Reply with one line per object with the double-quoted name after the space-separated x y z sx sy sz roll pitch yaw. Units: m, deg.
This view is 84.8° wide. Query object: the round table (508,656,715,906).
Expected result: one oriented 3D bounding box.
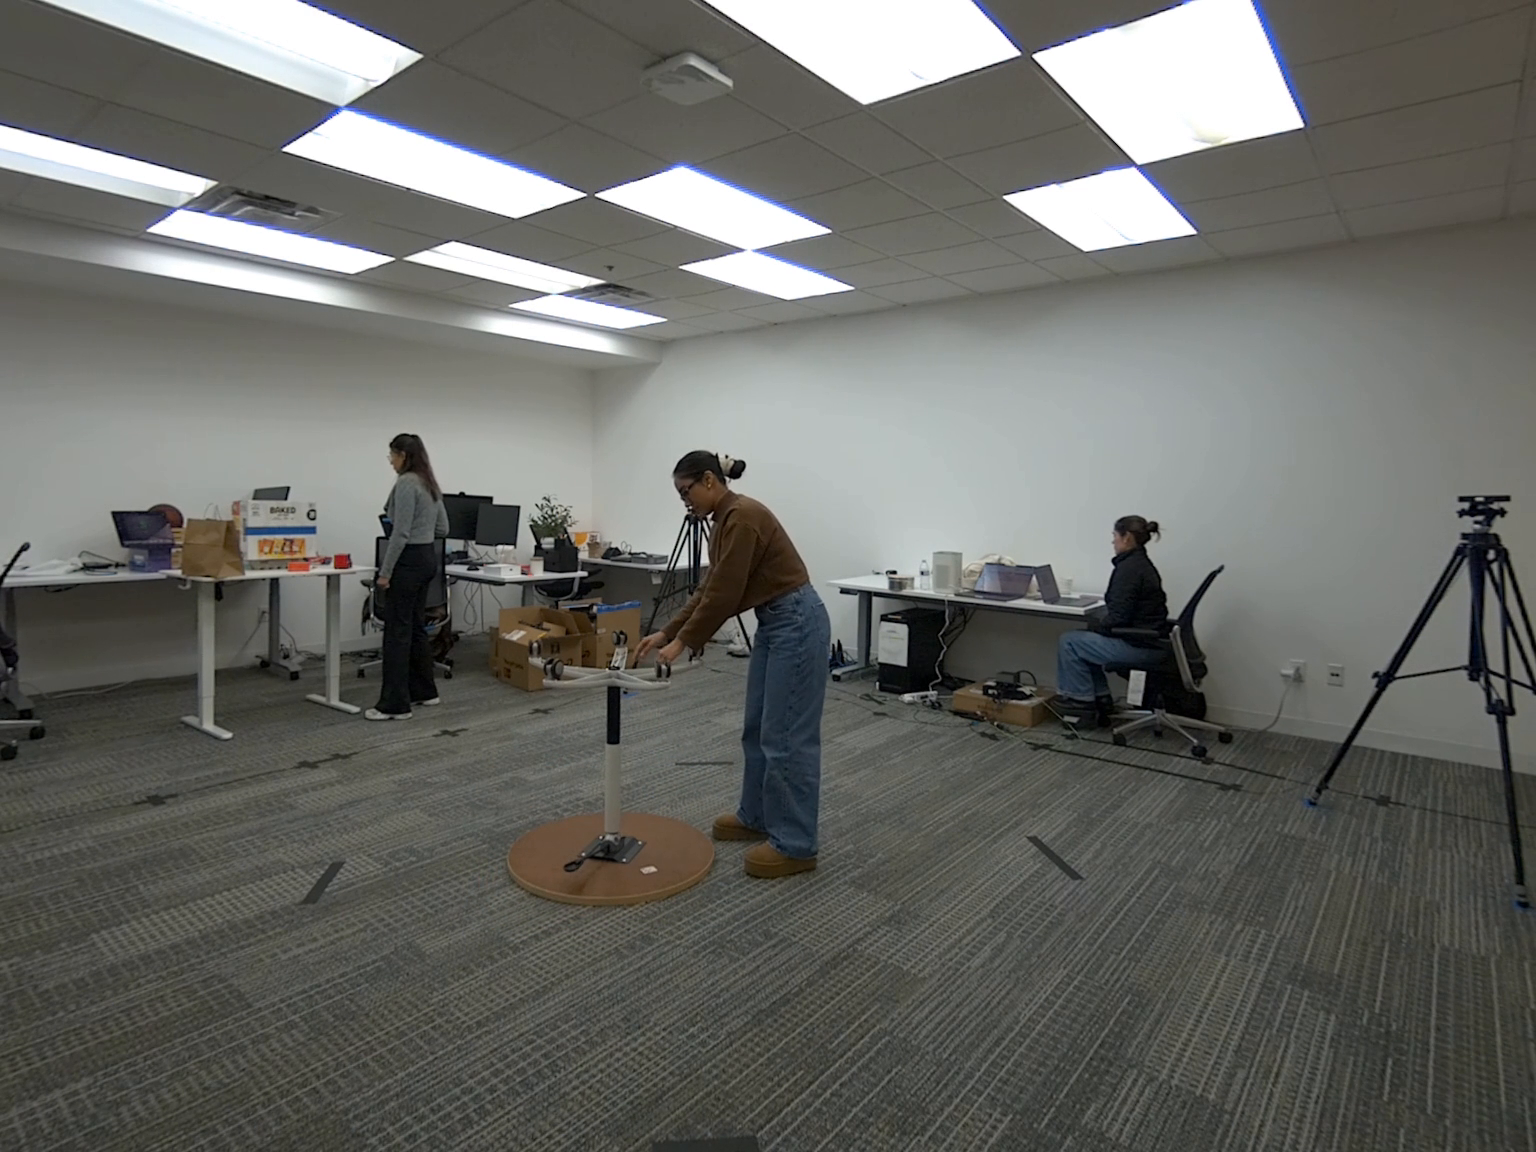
-0.597 0.659 3.170 0.763 0.792 0.767 1 3 -2 "round table"
